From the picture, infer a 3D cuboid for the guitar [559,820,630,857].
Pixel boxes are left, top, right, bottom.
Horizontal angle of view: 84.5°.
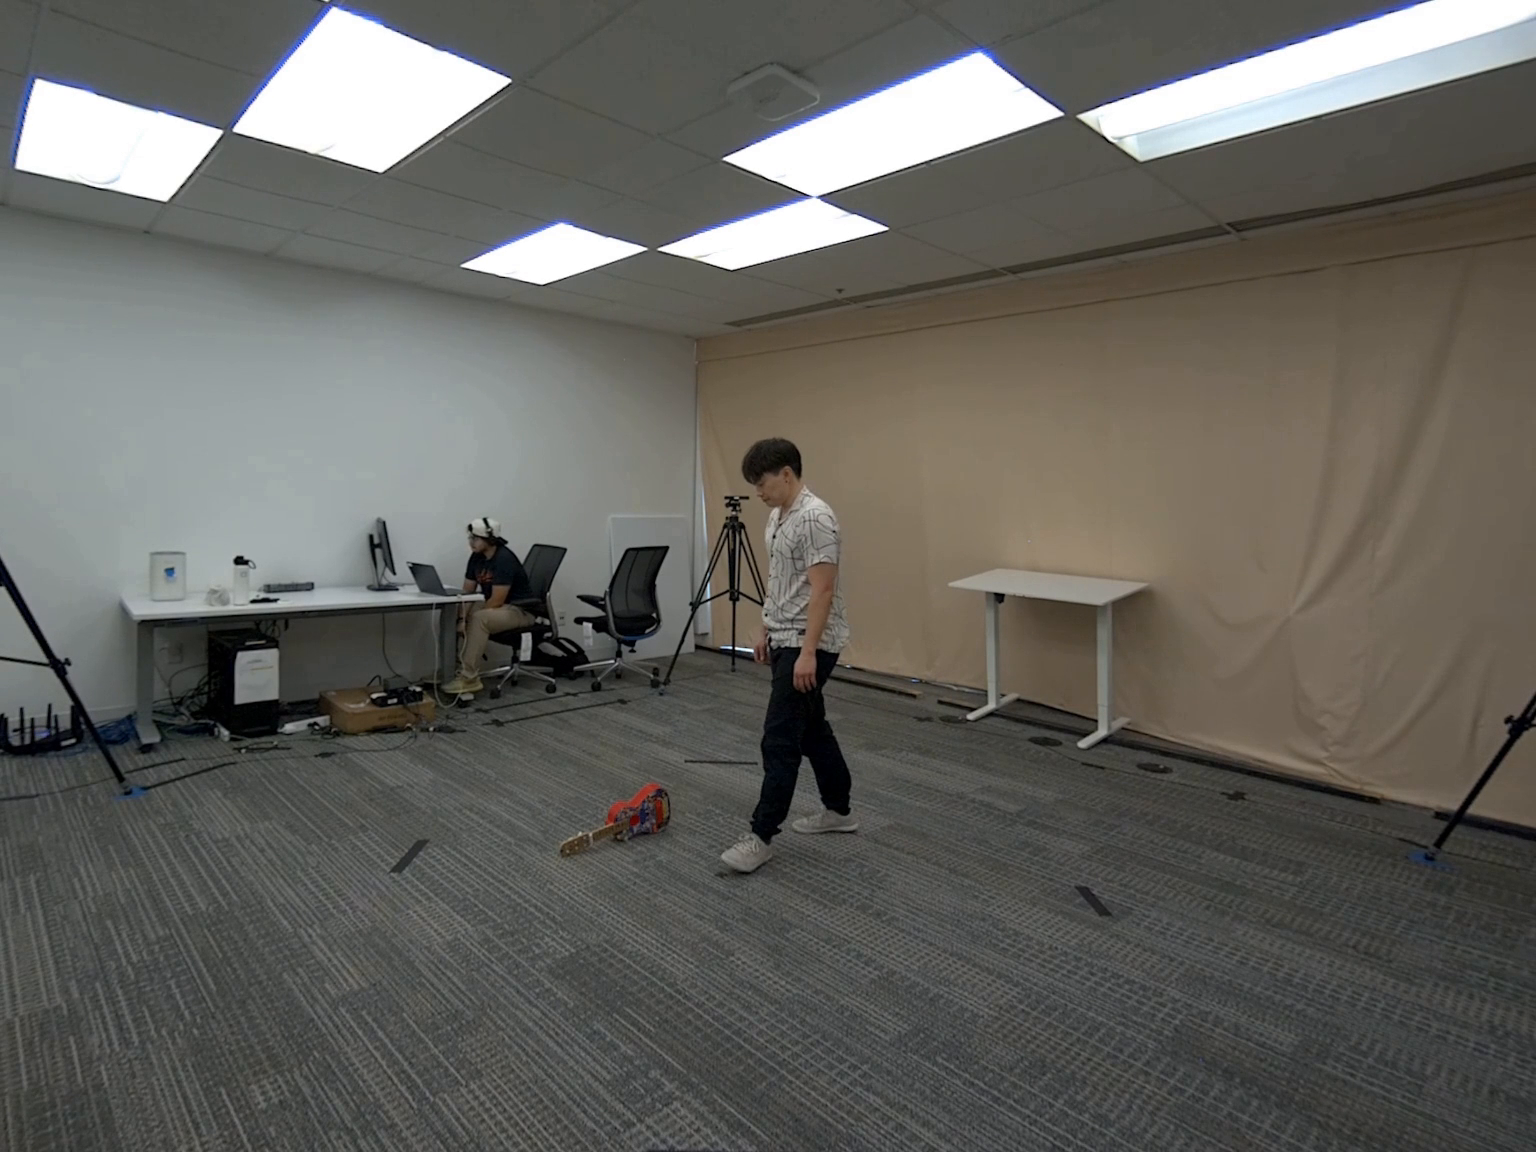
[{"bbox_3d":[-0.619,0.974,3.378,0.487,0.192,0.072,-3,8,-37],"label":"guitar"}]
